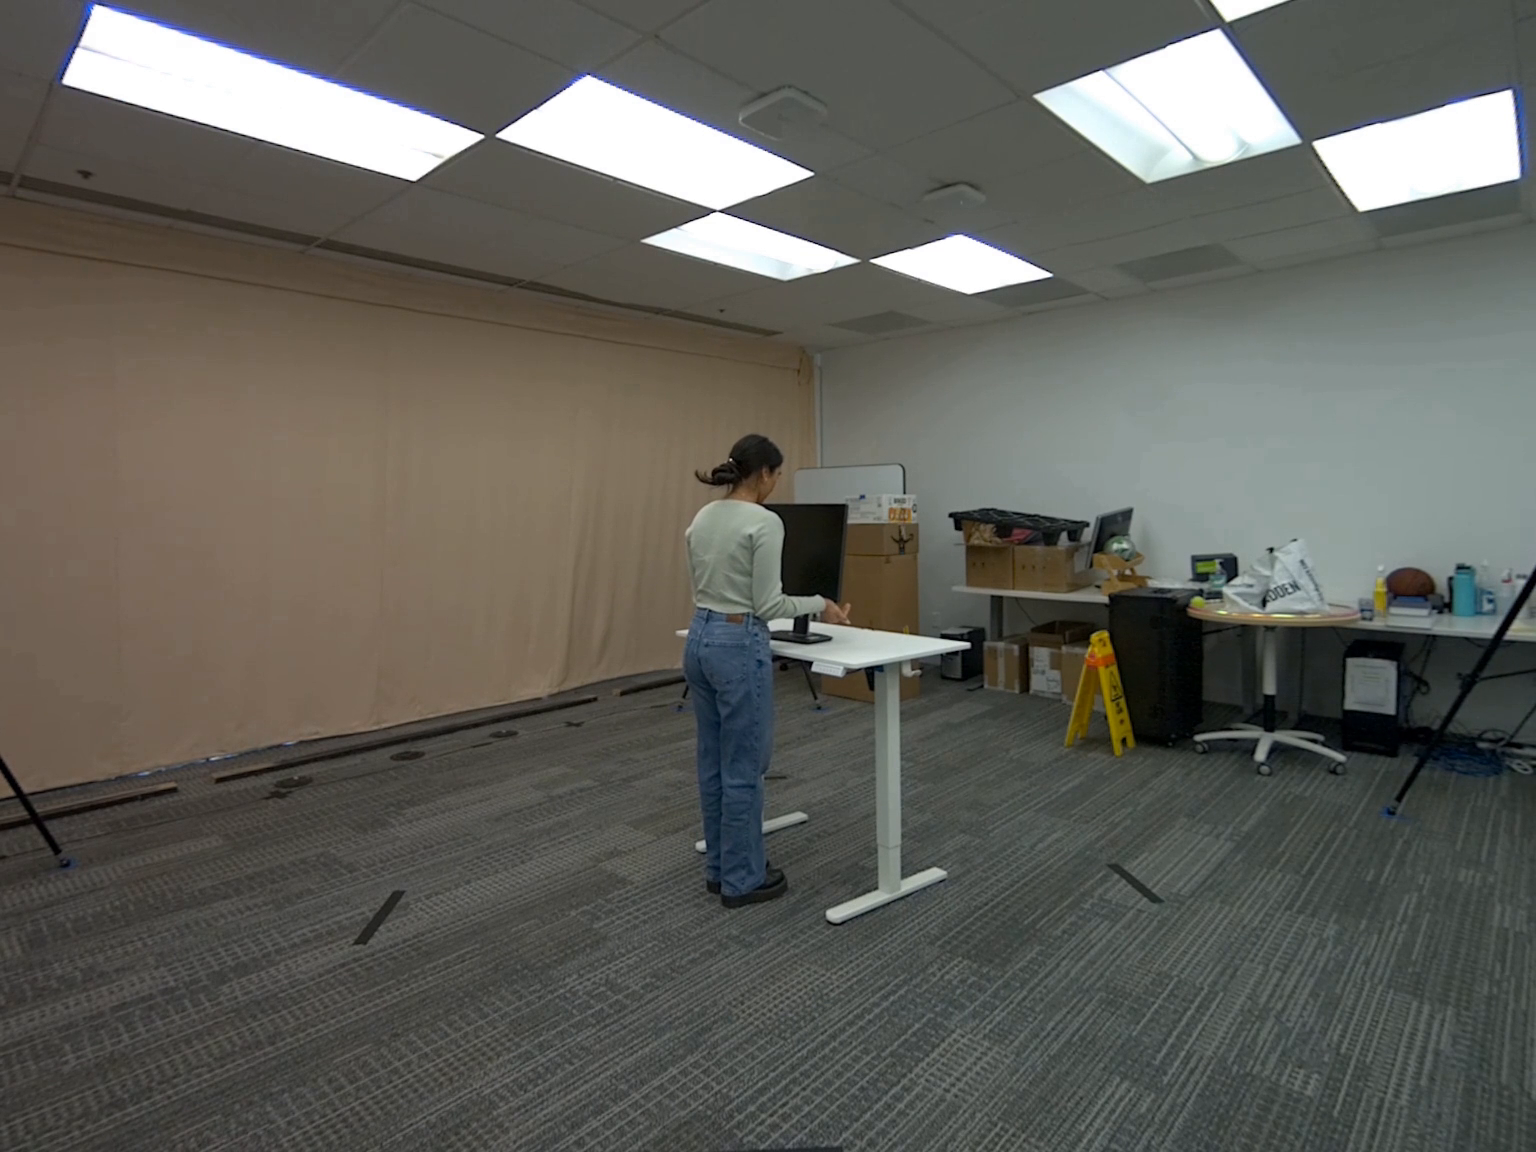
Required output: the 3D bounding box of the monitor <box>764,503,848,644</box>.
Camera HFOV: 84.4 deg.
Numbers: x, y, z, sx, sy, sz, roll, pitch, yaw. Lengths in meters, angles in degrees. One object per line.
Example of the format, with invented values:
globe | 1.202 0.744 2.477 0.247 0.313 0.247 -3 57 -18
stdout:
monitor | 0.103 -0.009 3.183 0.181 0.521 0.557 -5 5 -42
